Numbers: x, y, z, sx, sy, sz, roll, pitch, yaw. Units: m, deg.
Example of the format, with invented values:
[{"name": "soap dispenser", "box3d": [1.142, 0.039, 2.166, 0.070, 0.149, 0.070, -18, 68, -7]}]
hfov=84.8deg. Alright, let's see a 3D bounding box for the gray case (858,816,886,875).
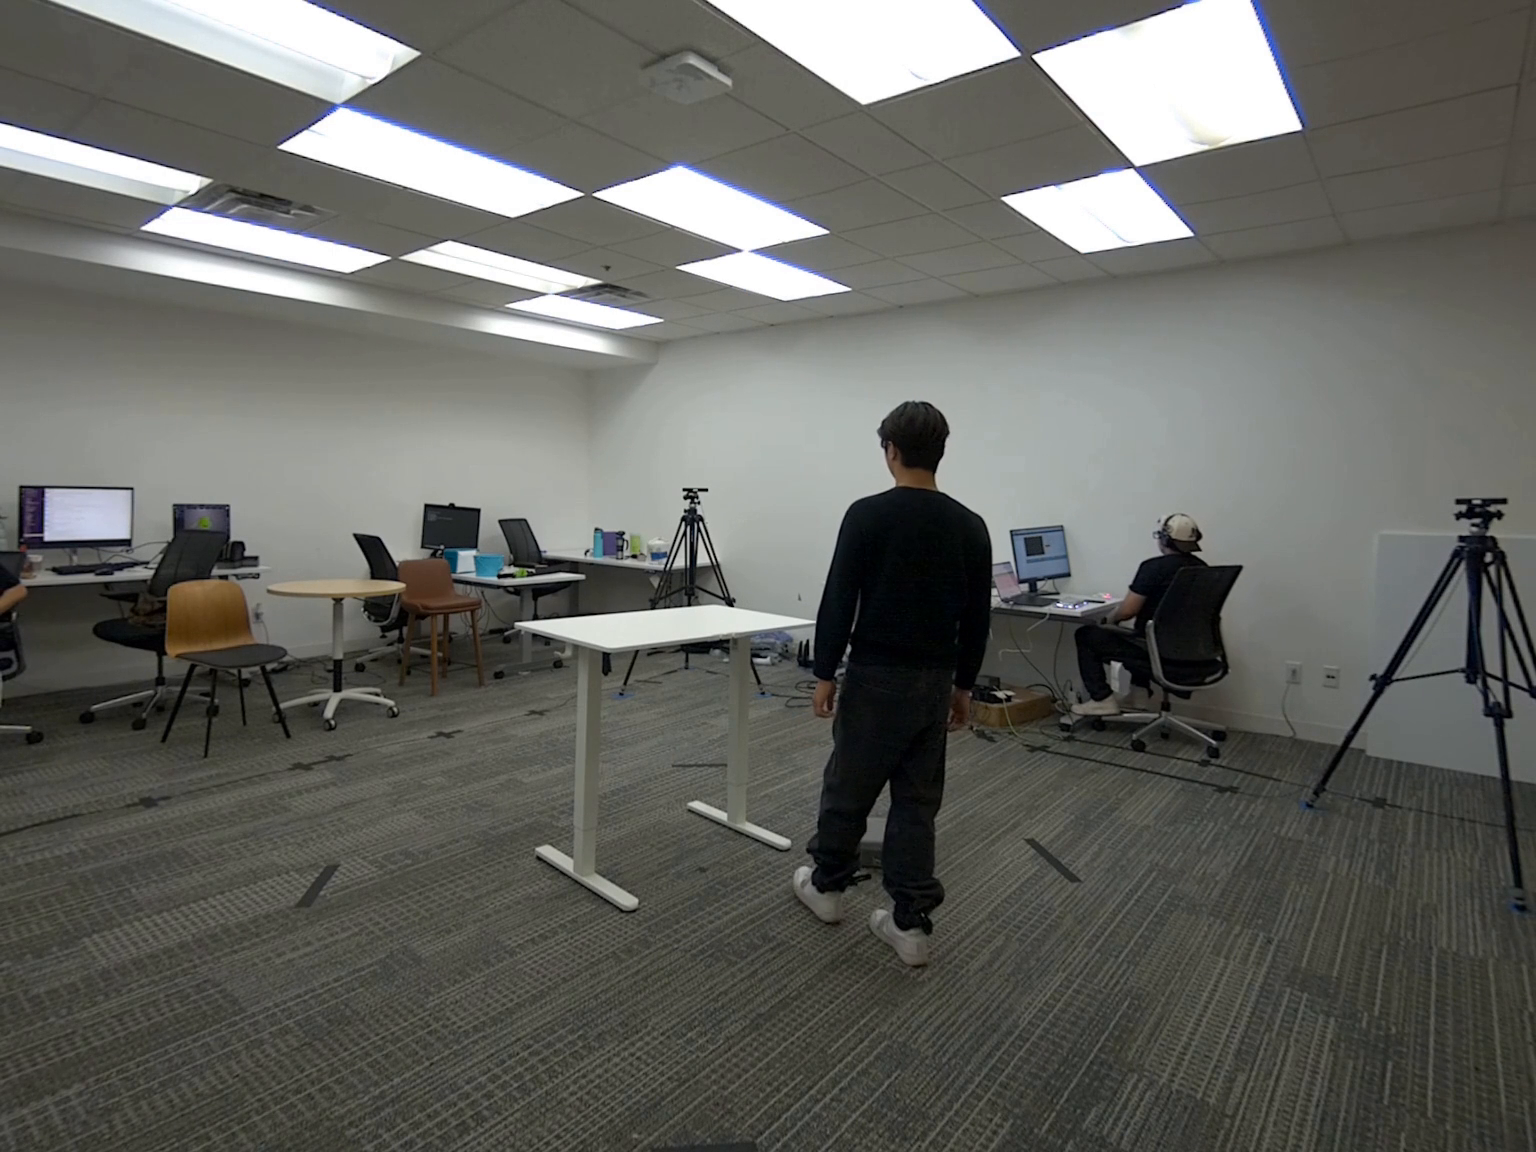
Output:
[{"name": "gray case", "box3d": [0.445, 1.010, 3.260, 0.258, 0.104, 0.260, 2, 5, 4]}]
